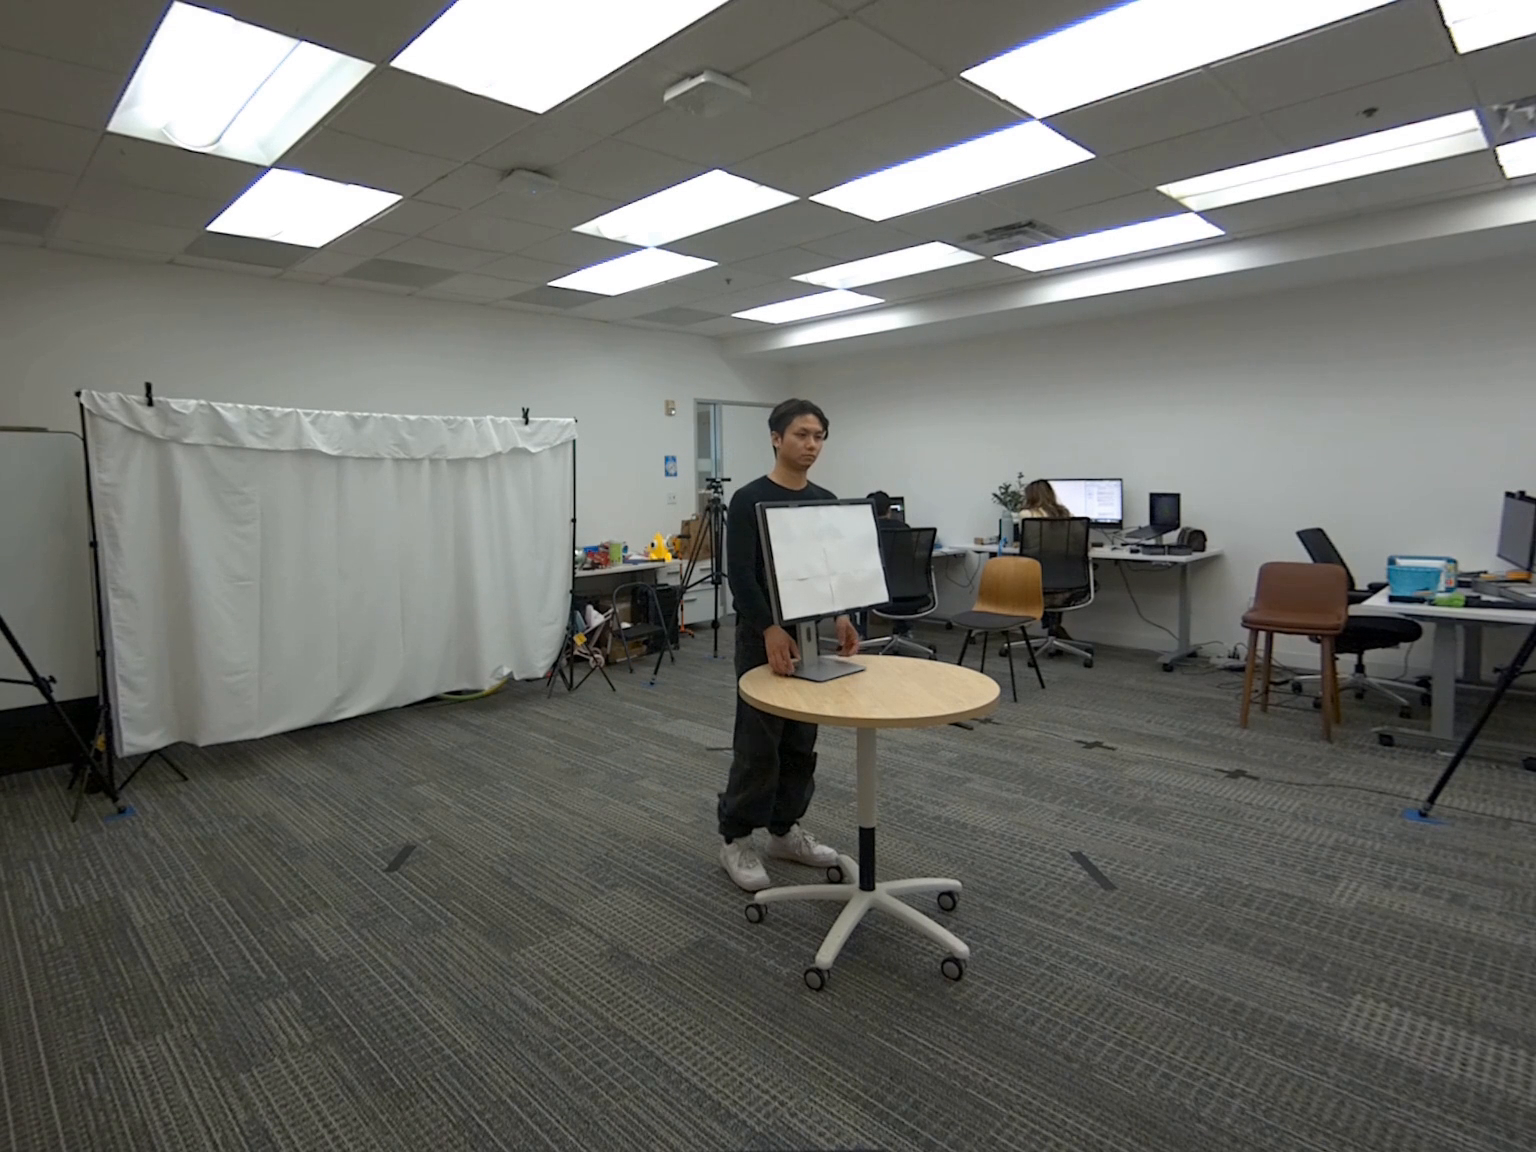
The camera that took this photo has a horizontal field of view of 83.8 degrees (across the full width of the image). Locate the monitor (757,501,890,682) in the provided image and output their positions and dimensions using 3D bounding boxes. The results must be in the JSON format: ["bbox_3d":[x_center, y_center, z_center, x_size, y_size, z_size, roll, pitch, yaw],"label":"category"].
[{"bbox_3d":[0.153,0.036,2.698,0.193,0.521,0.525,3,6,39],"label":"monitor"}]
